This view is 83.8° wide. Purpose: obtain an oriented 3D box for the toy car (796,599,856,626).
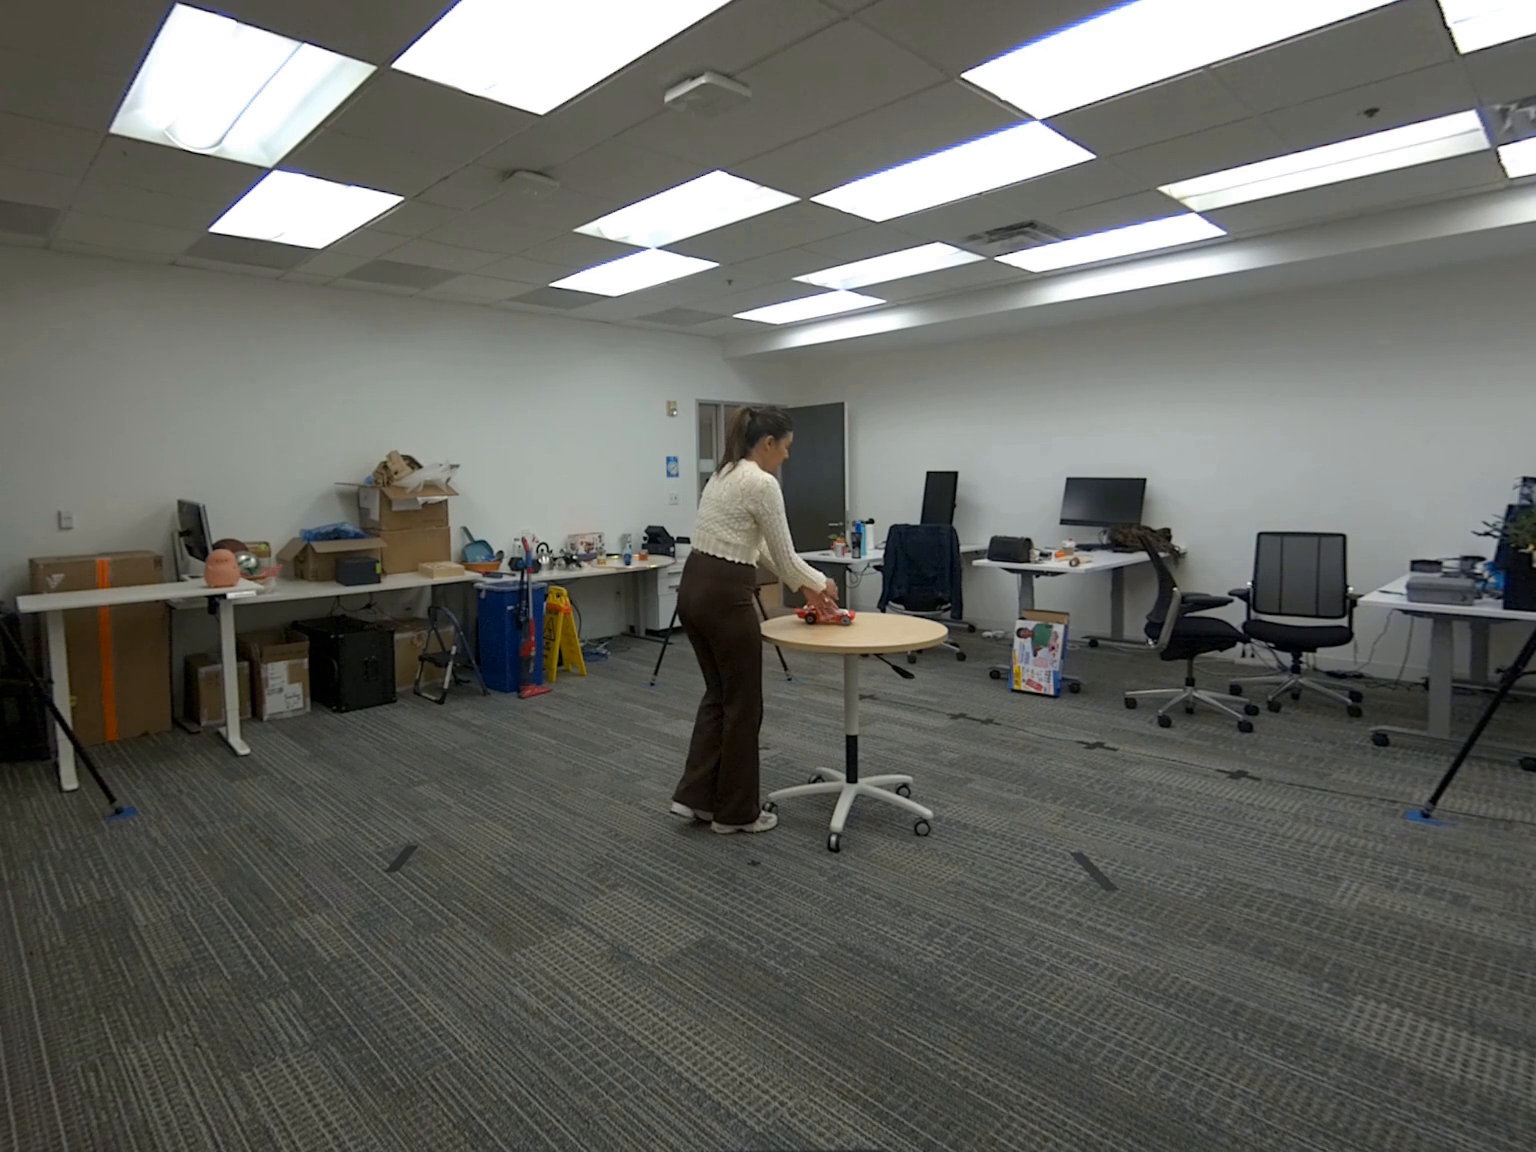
[{"bbox_3d":[0.239,0.168,3.601,0.259,0.083,0.129,14,9,13],"label":"toy car"}]
